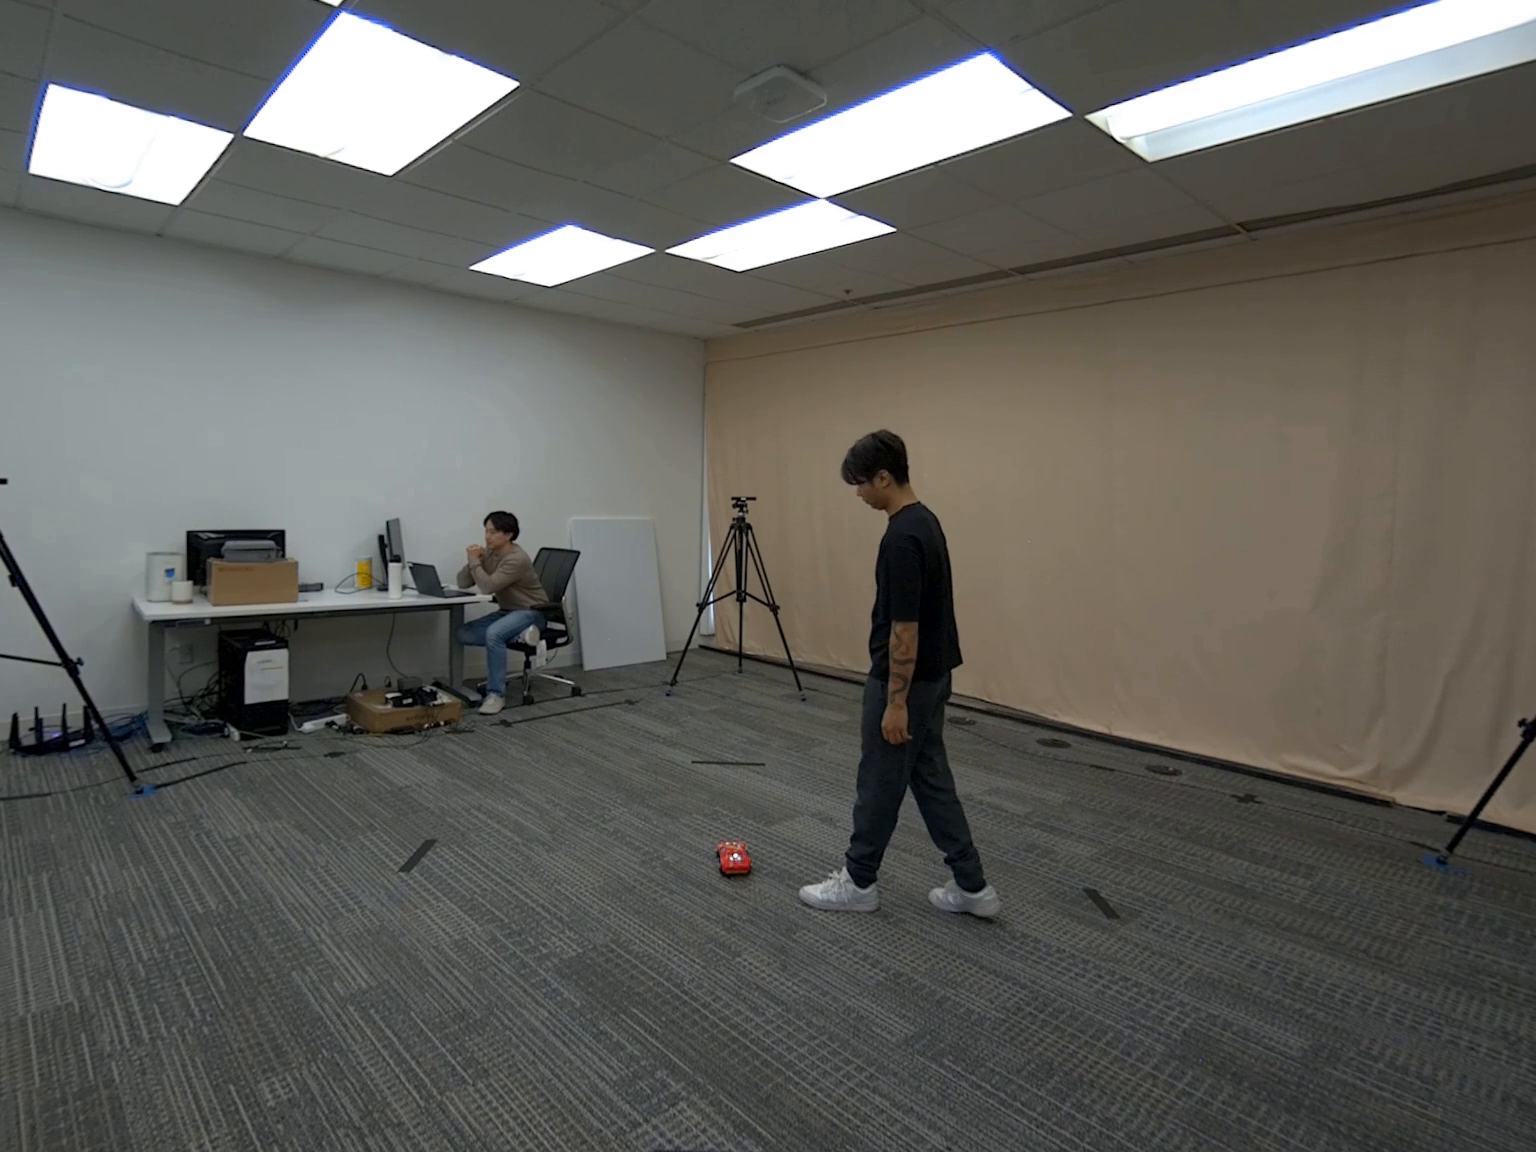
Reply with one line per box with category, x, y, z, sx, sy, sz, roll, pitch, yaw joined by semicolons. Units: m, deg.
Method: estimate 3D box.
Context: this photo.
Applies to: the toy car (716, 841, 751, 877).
toy car;-0.134;1.069;3.181;0.130;0.084;0.254;0;-6;-6
